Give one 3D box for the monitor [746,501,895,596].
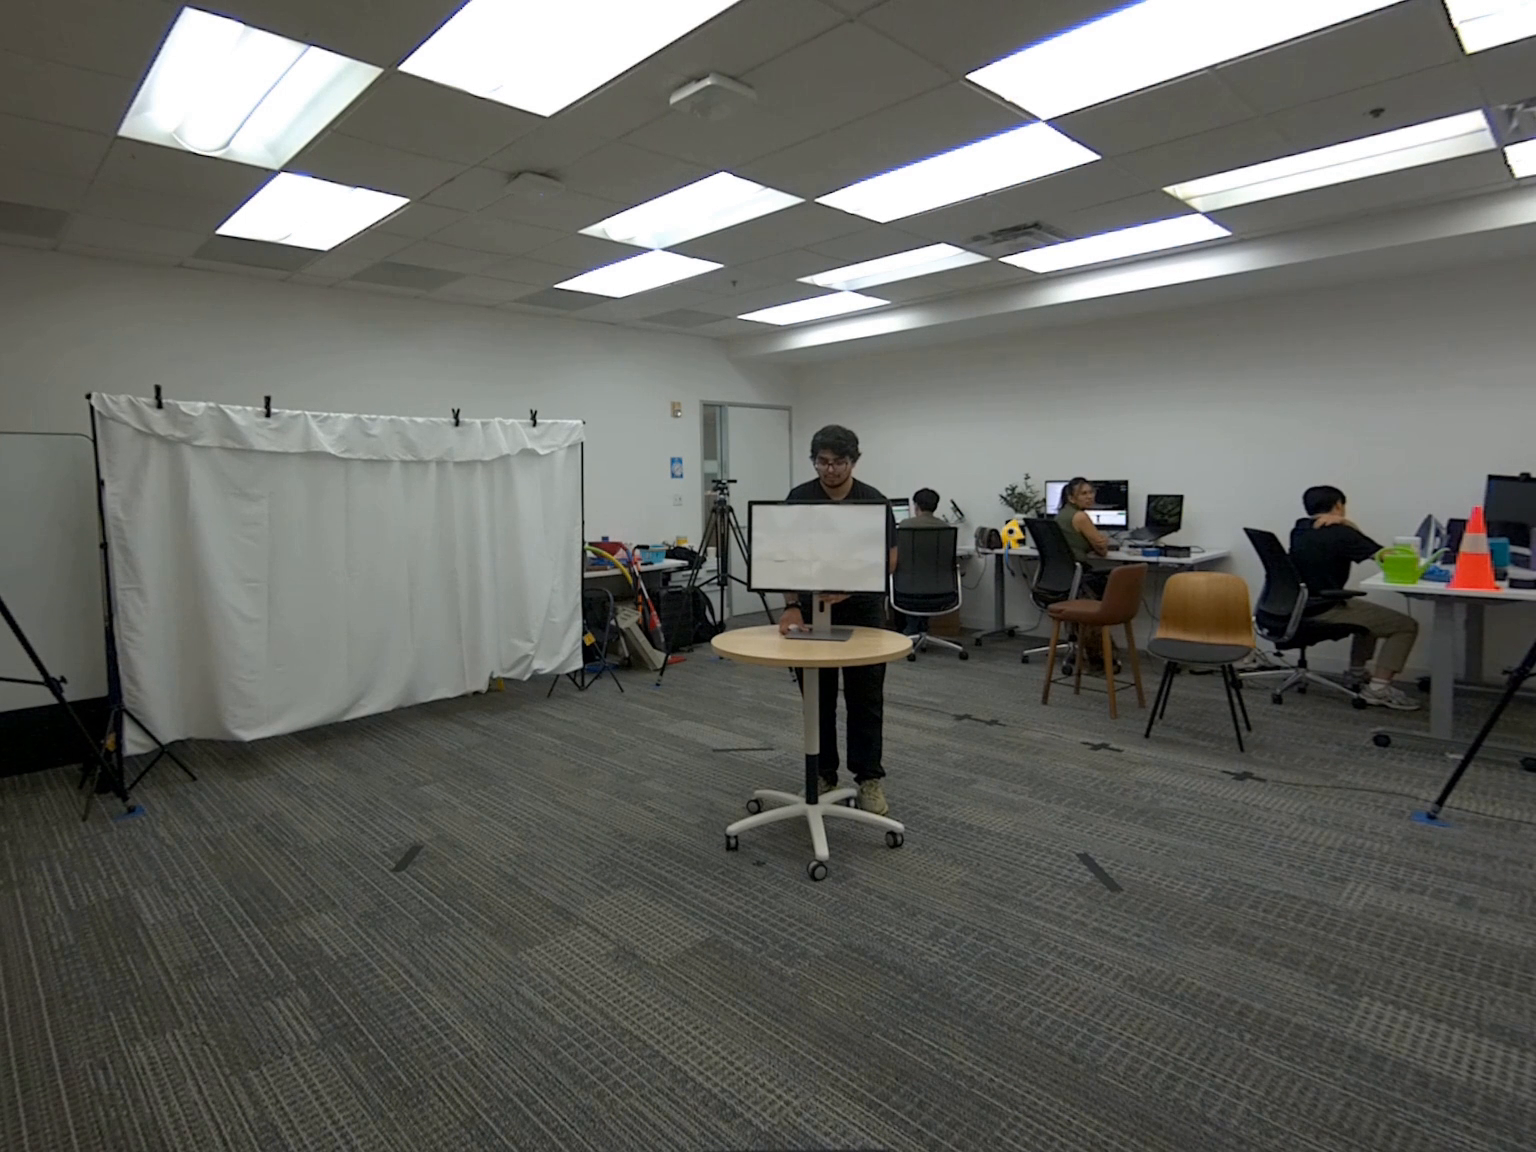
[{"bbox_3d":[0.203,-0.028,3.380,0.575,0.553,0.207,1,3,17],"label":"monitor"}]
